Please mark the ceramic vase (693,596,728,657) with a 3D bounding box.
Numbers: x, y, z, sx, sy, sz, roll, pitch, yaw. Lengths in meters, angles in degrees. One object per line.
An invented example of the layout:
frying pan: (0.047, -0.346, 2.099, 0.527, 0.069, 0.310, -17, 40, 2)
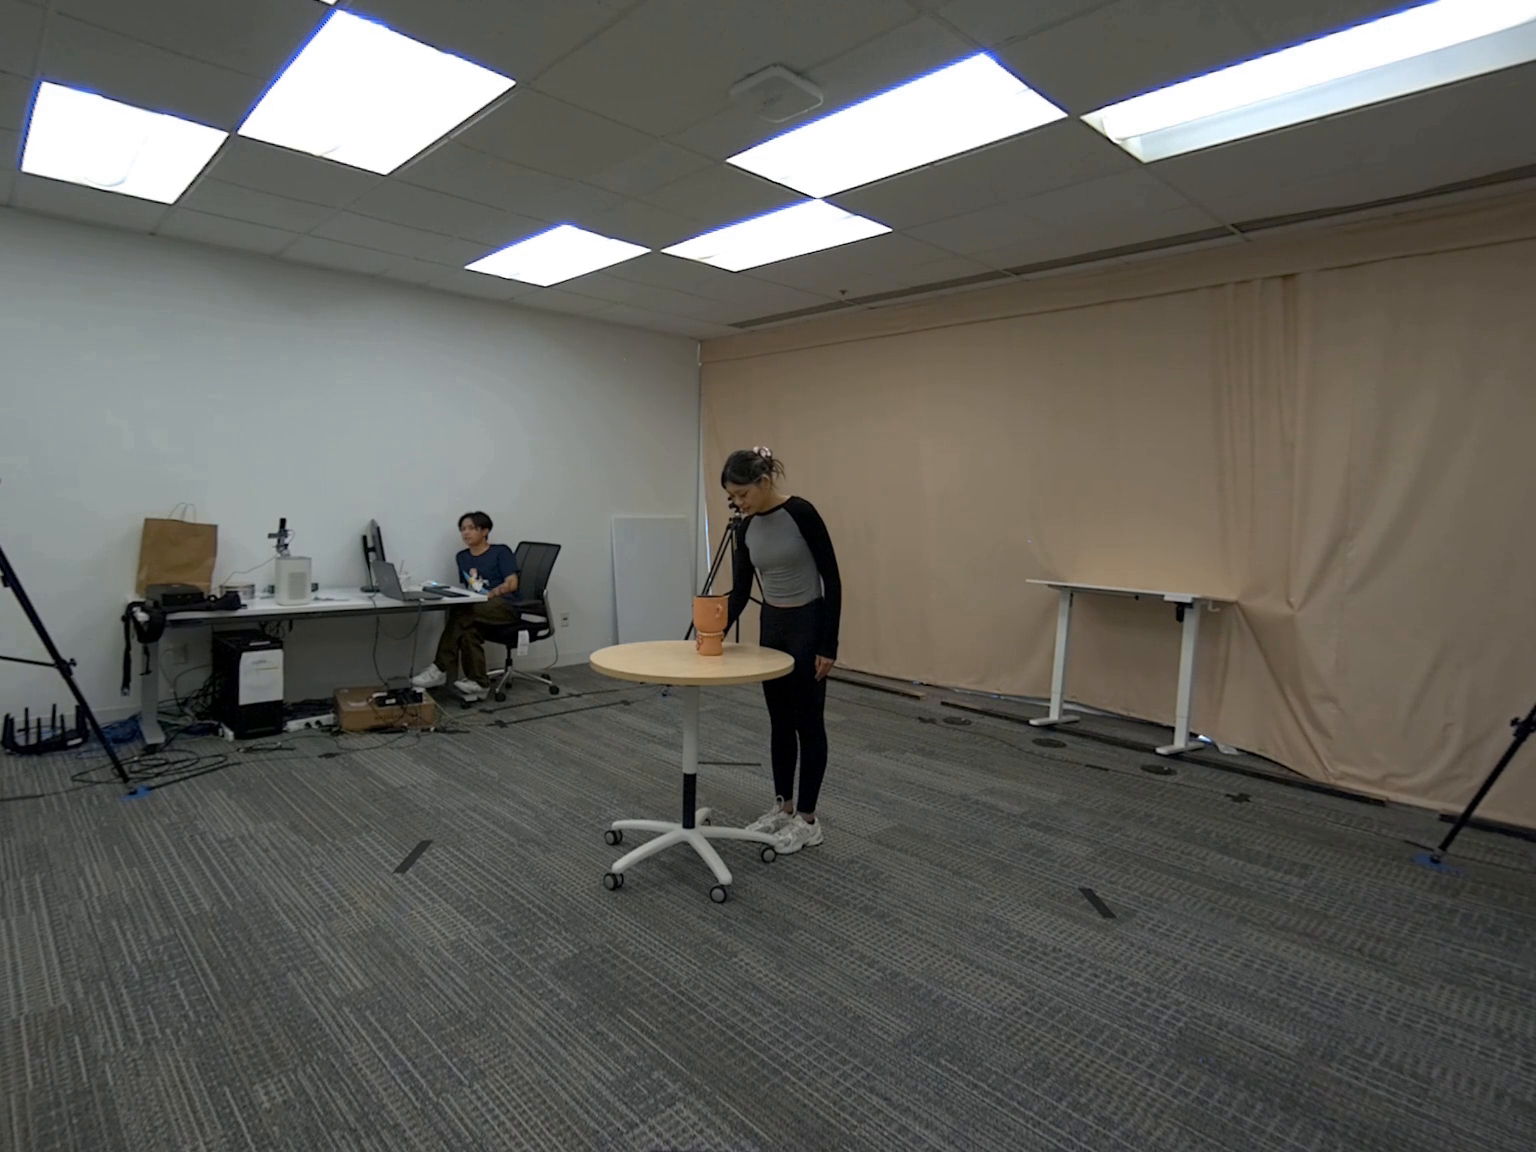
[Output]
ceramic vase: (-0.230, 0.188, 3.247, 0.136, 0.219, 0.158, 0, 3, 11)
